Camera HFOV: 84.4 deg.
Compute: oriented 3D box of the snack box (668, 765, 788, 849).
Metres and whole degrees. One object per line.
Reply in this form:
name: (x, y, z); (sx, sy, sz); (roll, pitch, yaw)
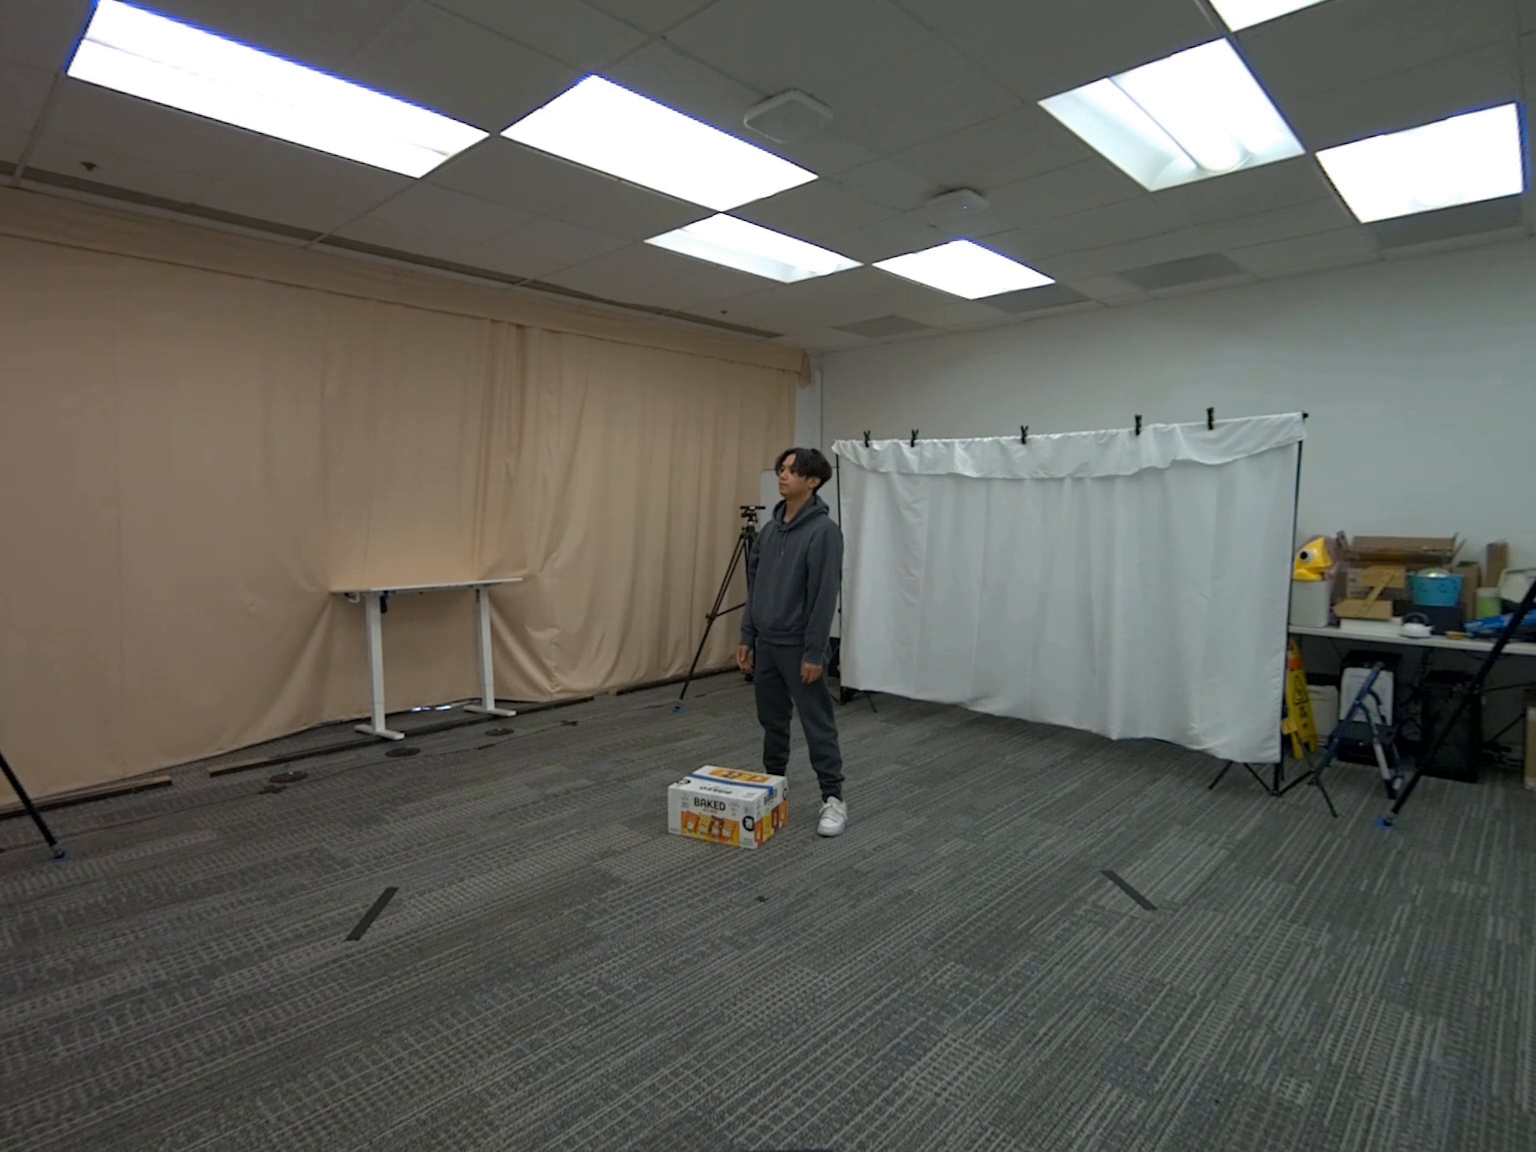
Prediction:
snack box: (-0.169, 0.988, 3.636); (0.416, 0.205, 0.332); (2, 4, 26)
